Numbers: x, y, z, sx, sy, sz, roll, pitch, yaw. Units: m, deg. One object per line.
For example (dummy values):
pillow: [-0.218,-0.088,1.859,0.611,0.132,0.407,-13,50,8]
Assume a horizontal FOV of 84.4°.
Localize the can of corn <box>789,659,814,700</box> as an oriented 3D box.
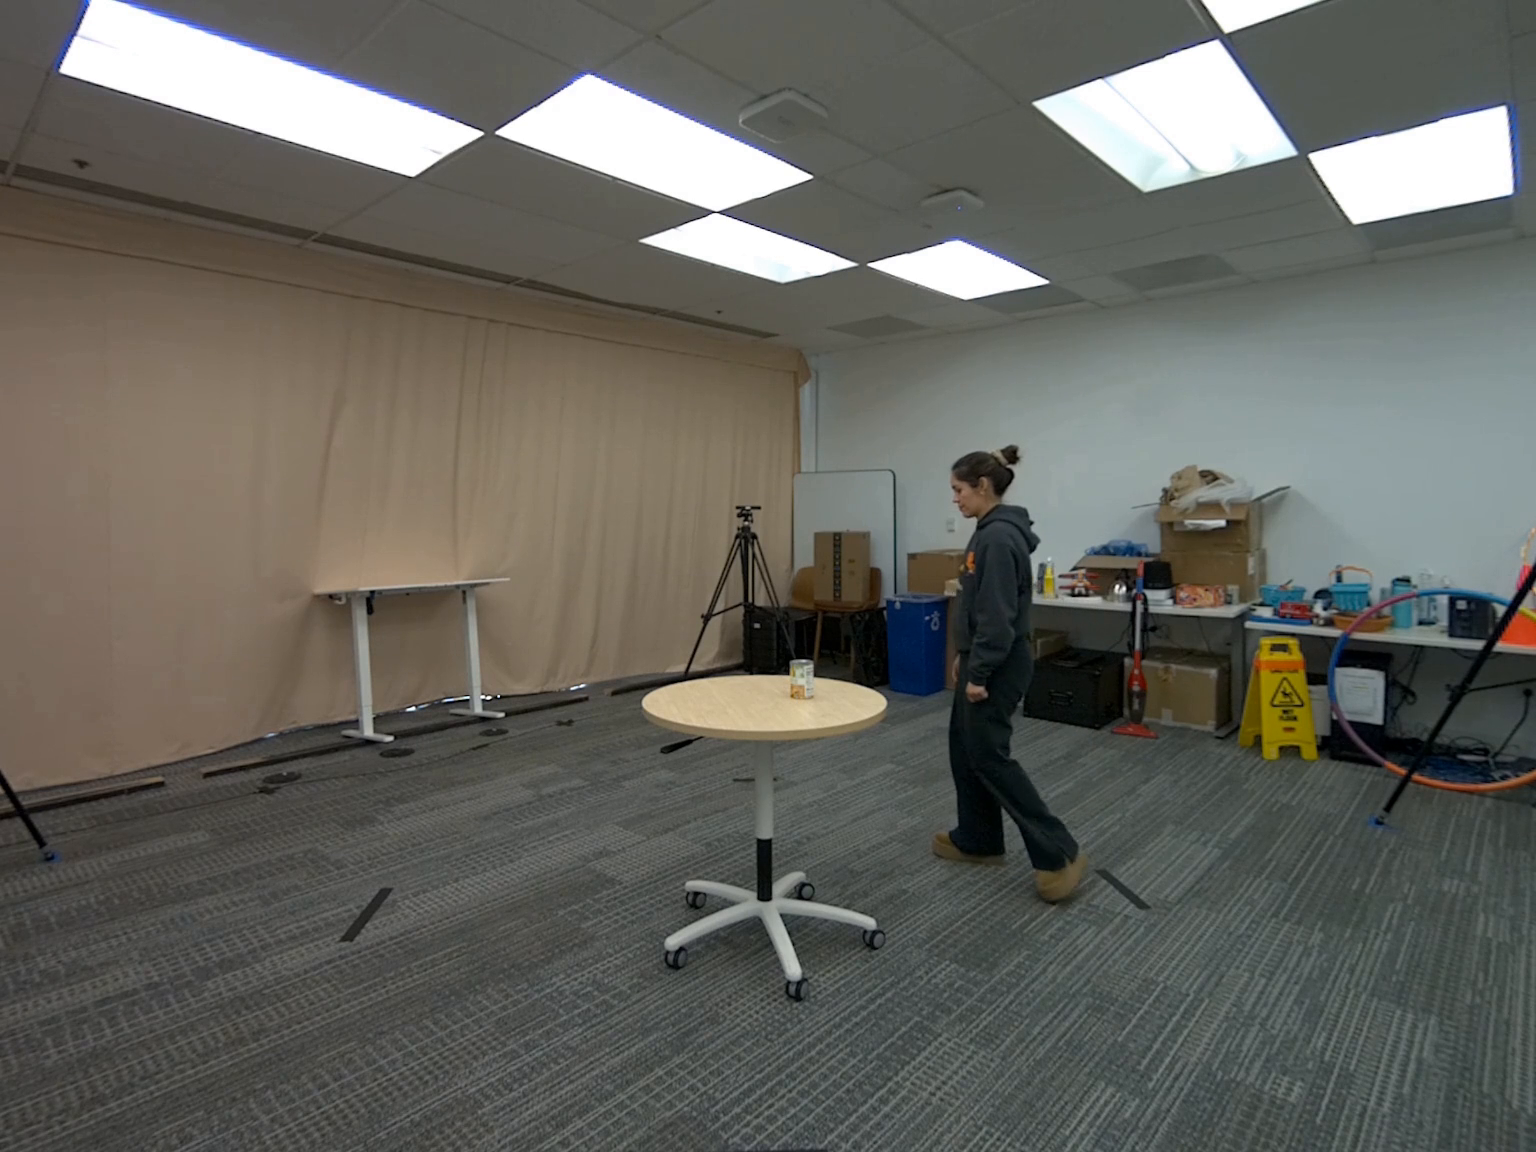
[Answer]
can of corn: [0.123,0.327,2.666,0.074,0.111,0.074,-1,4,-2]
